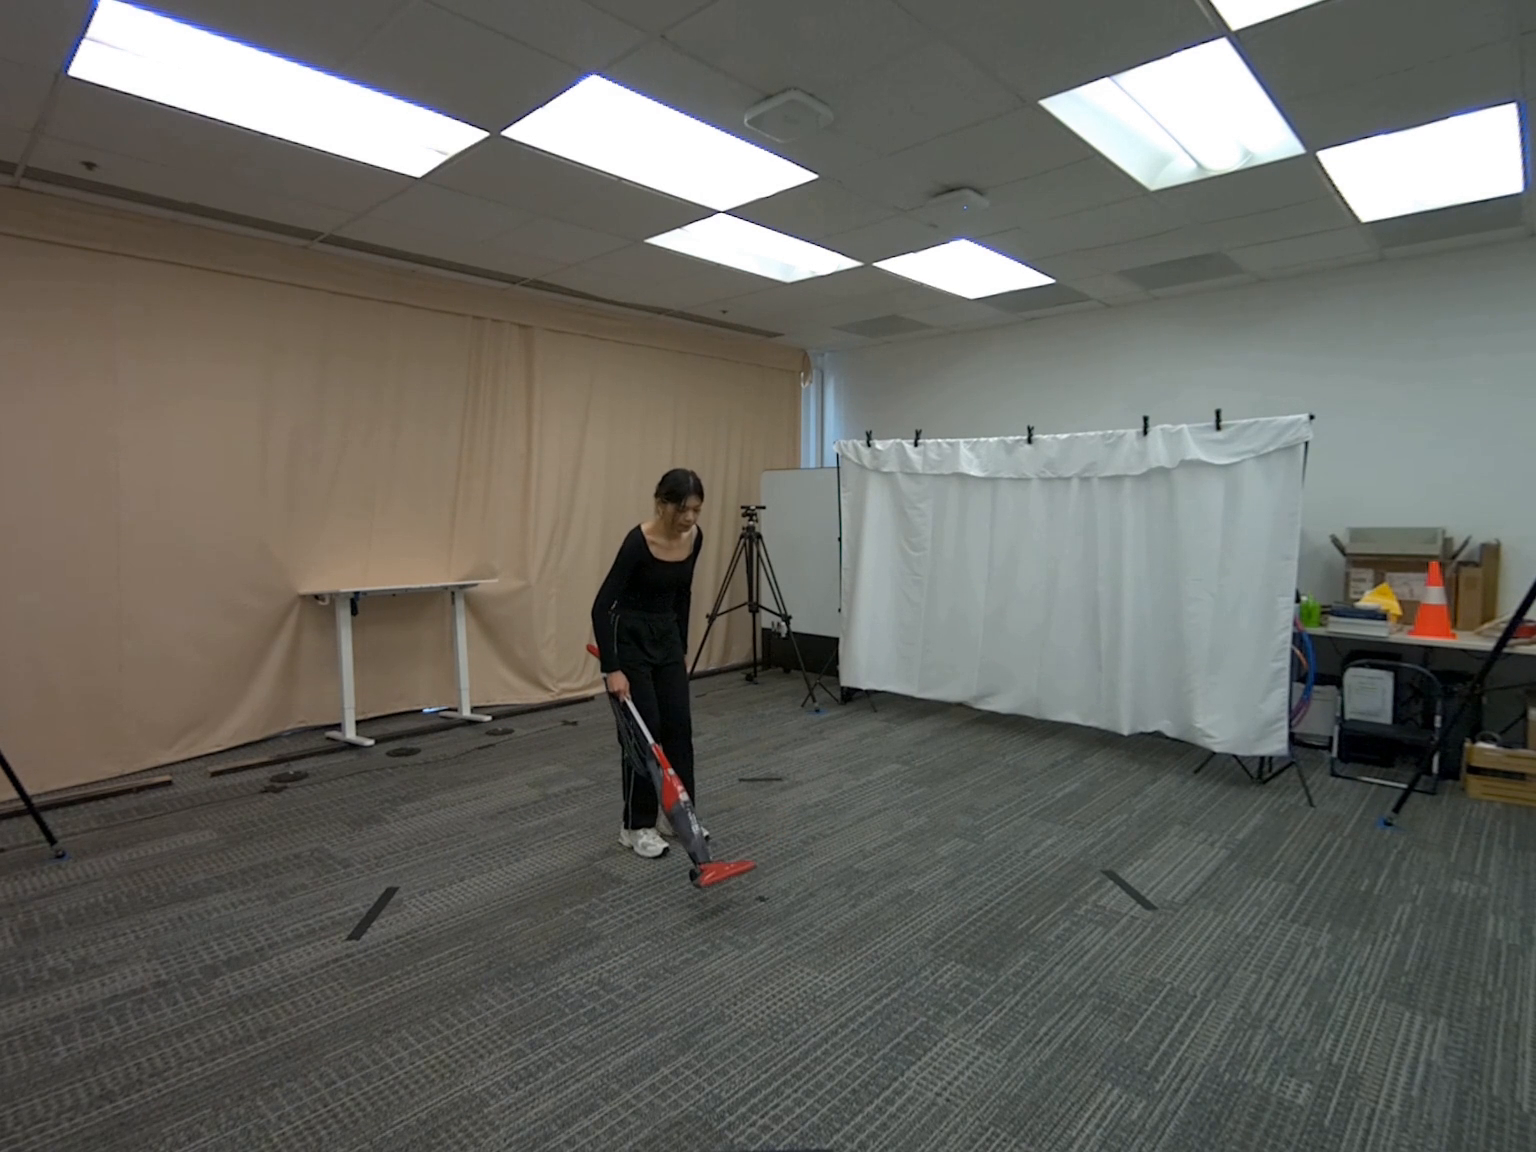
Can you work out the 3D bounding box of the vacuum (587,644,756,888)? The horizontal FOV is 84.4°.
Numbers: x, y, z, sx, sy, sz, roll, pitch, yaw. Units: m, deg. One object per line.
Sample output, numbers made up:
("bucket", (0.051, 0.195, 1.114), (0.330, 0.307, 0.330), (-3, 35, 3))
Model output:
("vacuum", (-0.434, 0.668, 3.128), (0.245, 0.144, 1.082), (-6, 46, -41))
